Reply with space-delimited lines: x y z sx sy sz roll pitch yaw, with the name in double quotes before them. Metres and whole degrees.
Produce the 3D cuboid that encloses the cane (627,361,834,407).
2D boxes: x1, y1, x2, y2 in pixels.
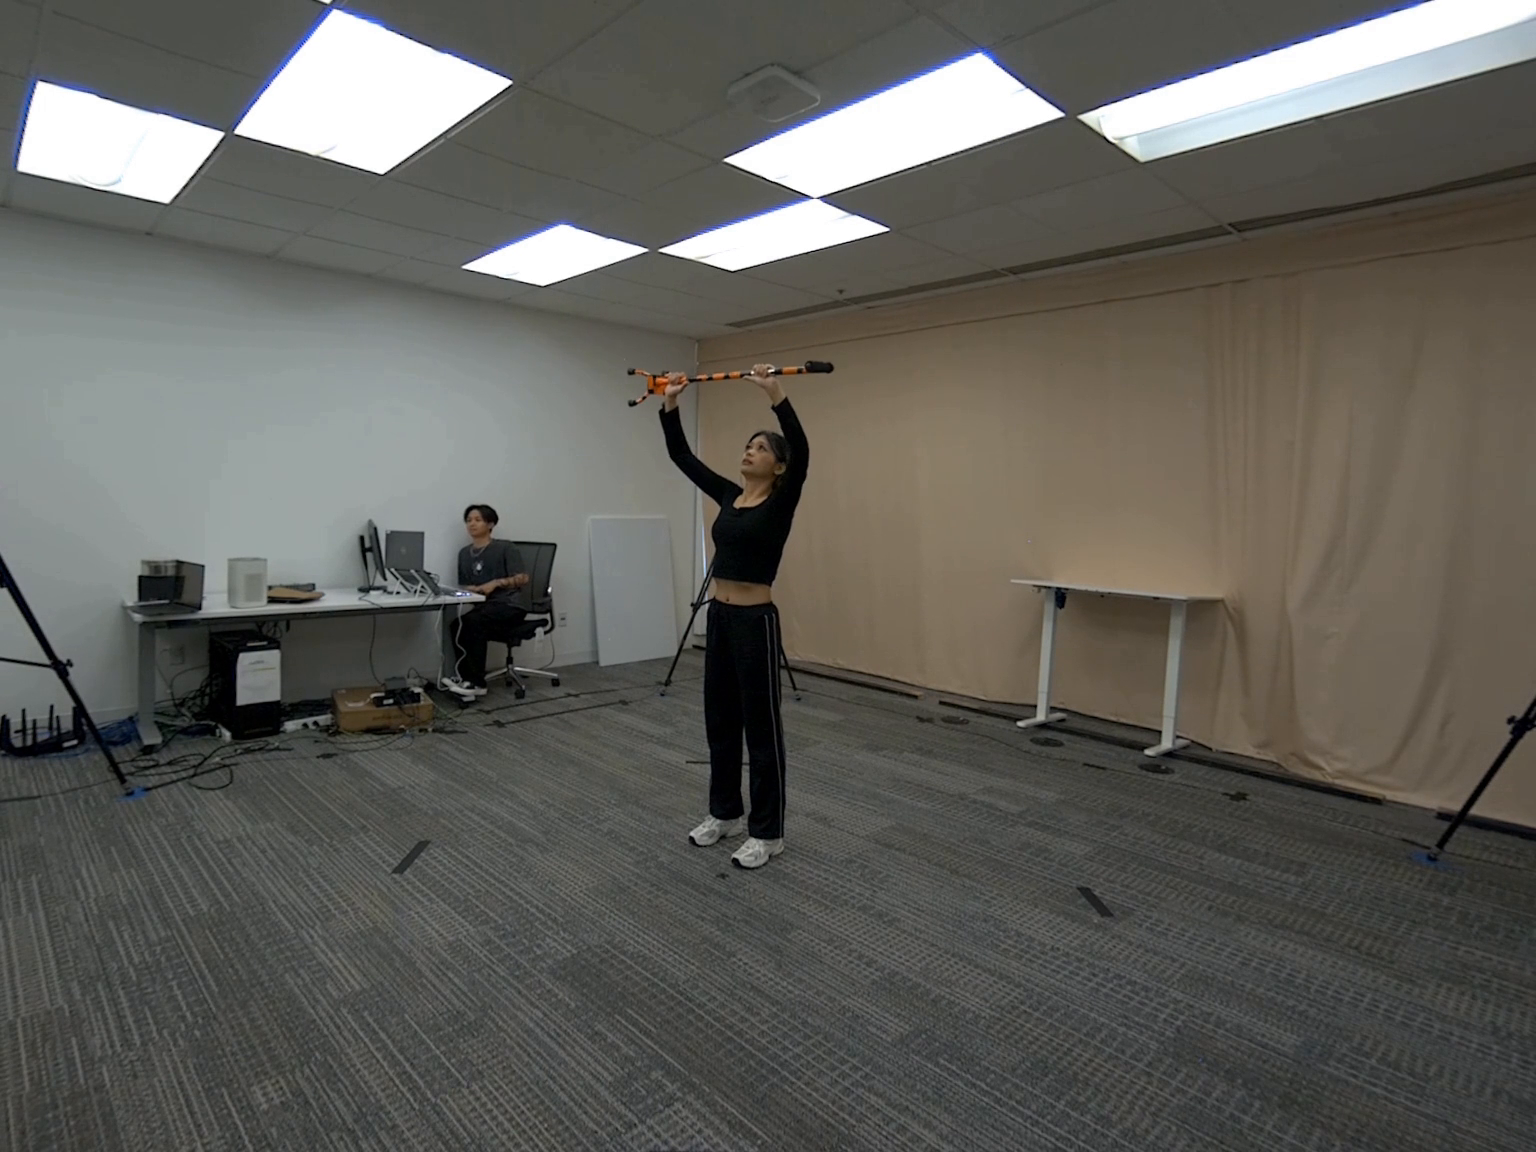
"cane" -0.142 -0.705 3.029 0.931 0.151 0.202 7 11 43
